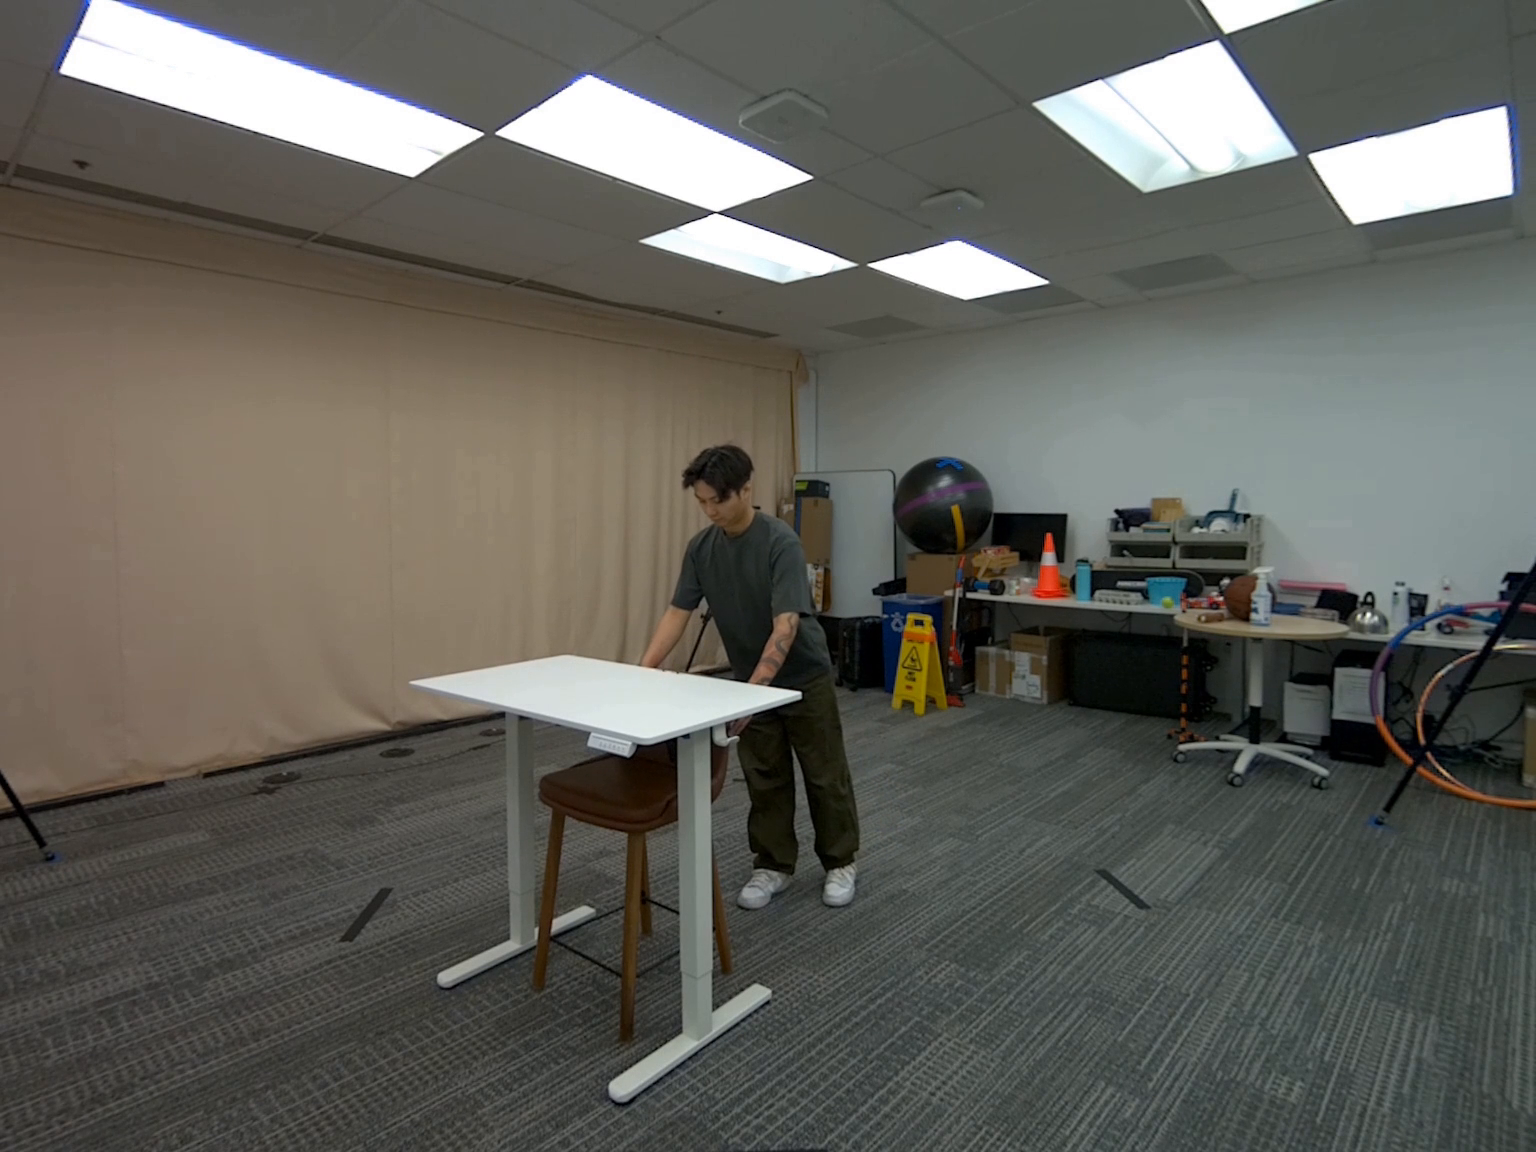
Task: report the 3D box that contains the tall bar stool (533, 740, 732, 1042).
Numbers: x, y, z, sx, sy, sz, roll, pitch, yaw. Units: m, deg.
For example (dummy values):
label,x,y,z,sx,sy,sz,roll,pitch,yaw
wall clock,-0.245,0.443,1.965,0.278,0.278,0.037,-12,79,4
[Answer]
label,x,y,z,sx,sy,sz,roll,pitch,yaw
tall bar stool,-0.383,0.756,2.460,0.471,0.889,0.453,3,1,40
